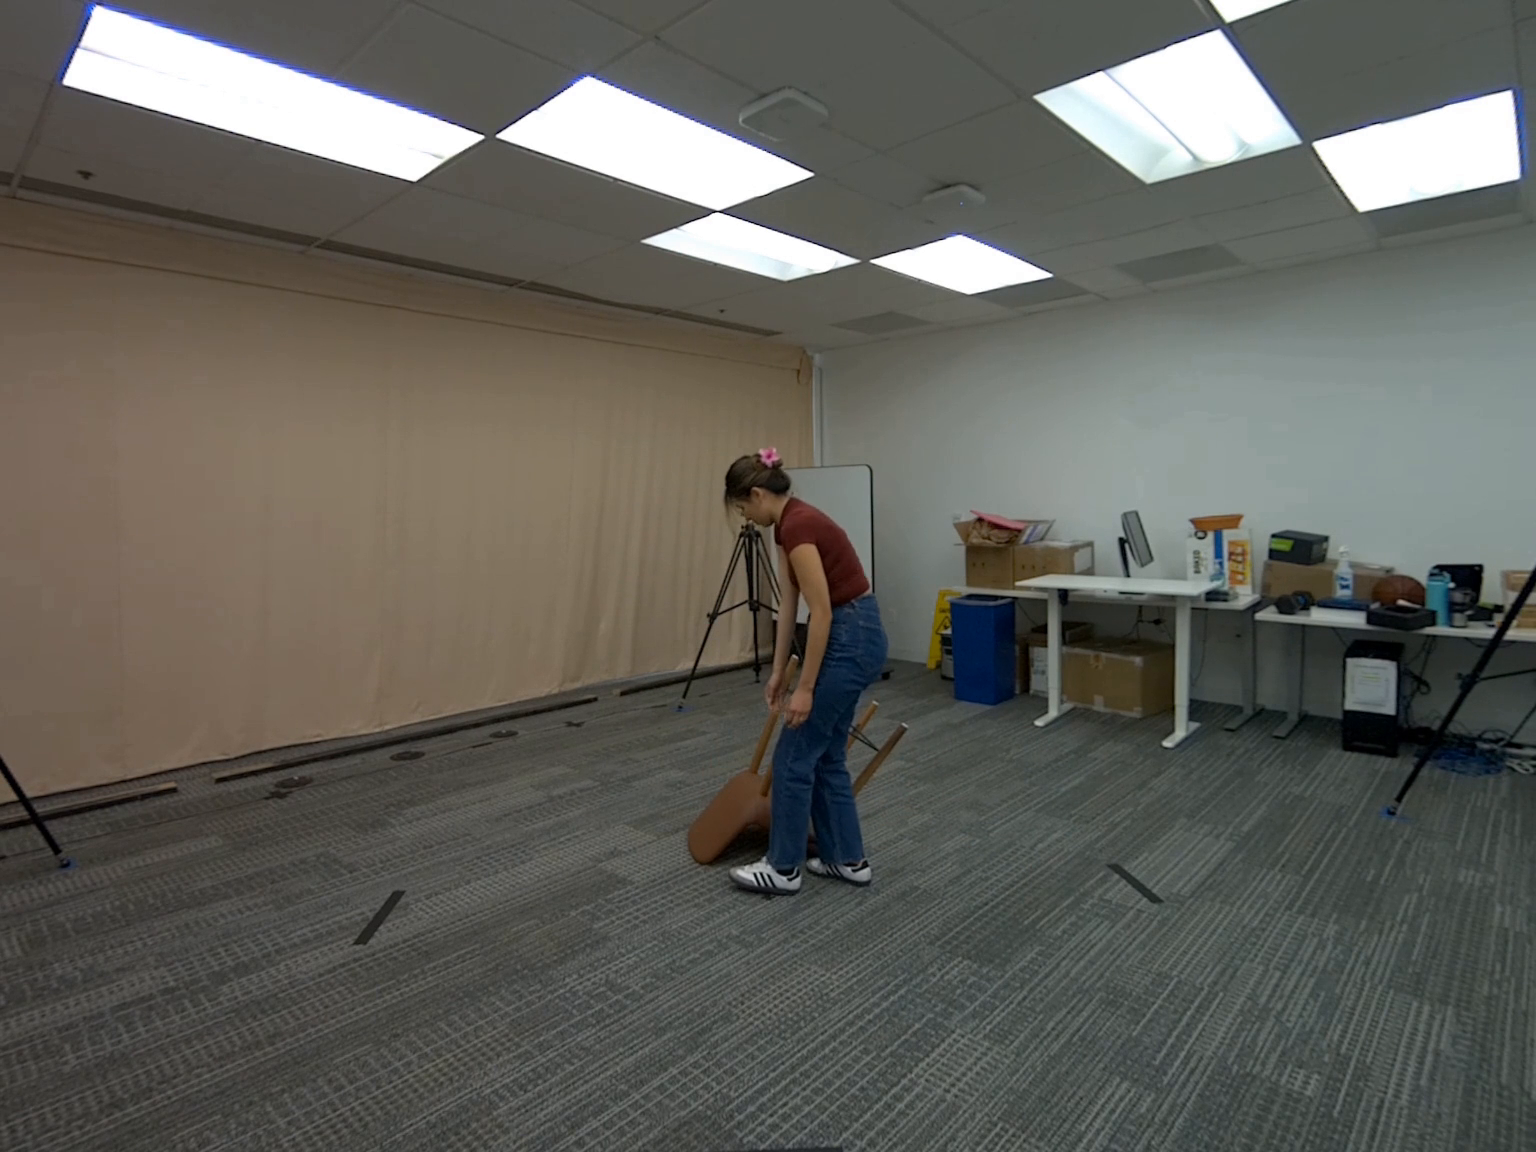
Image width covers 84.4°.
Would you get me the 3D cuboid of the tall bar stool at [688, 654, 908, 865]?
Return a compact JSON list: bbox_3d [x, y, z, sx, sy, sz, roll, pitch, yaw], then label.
[{"bbox_3d":[0.102,0.840,3.478,0.463,0.889,0.462,33,-3,-9],"label":"tall bar stool"}]
